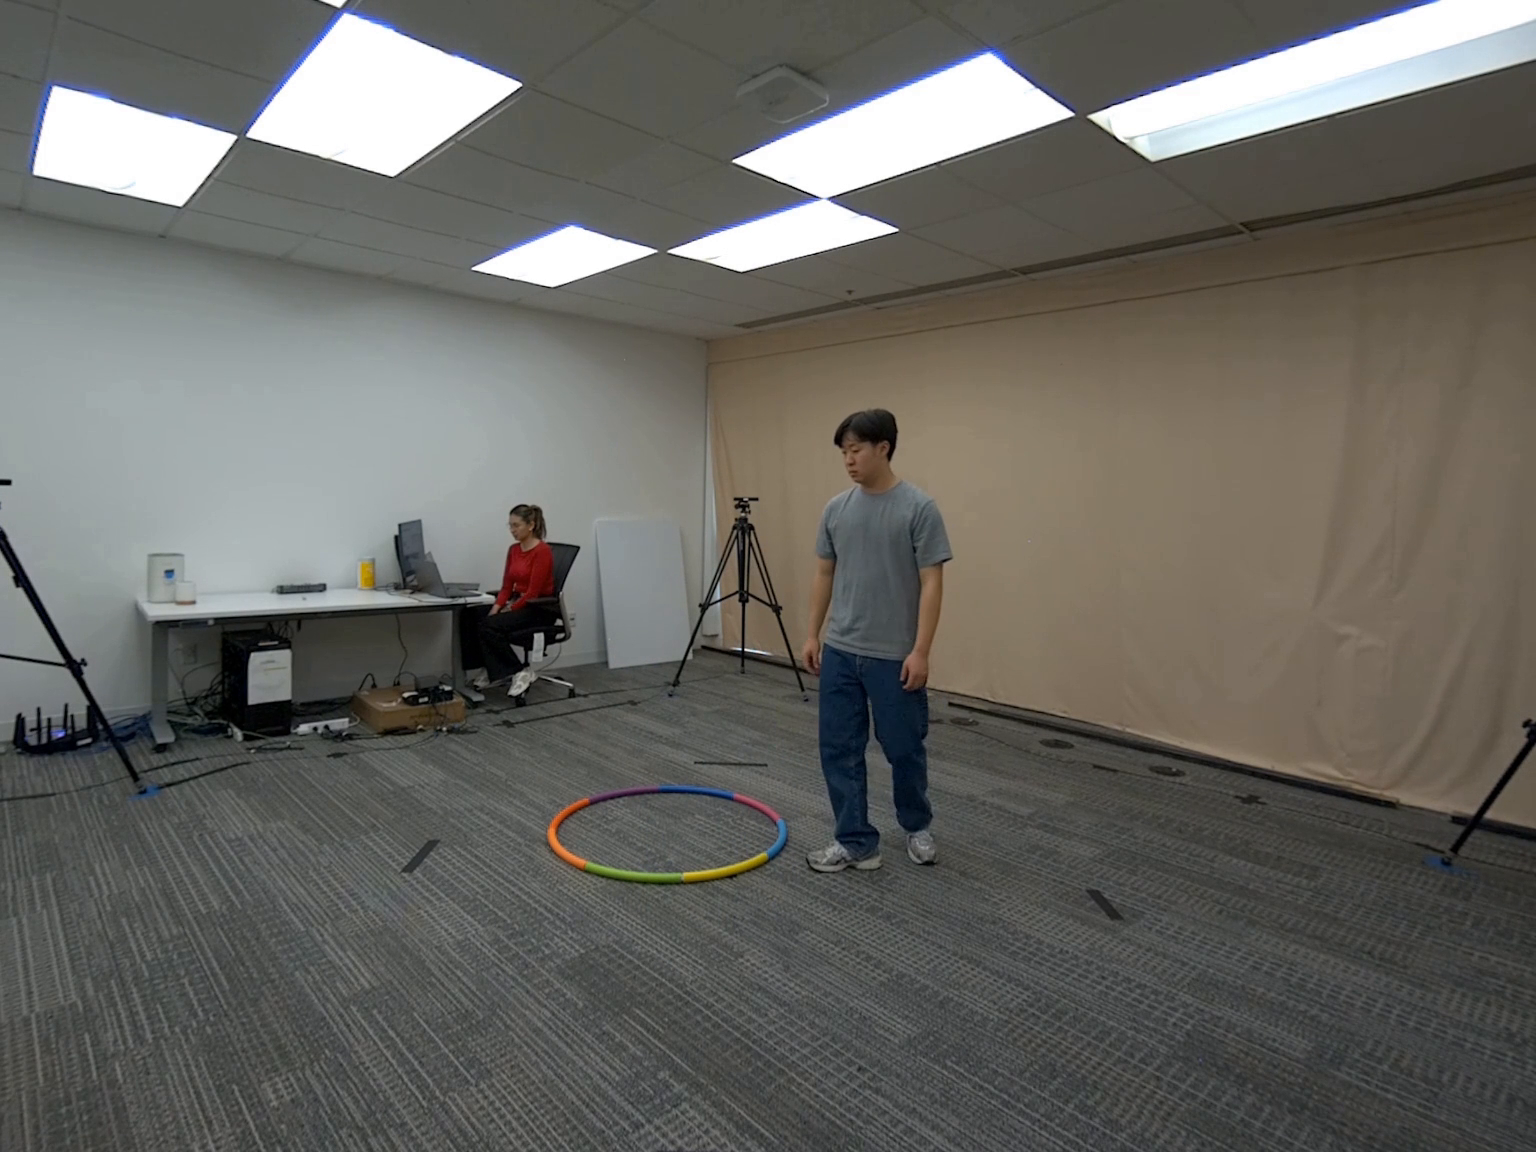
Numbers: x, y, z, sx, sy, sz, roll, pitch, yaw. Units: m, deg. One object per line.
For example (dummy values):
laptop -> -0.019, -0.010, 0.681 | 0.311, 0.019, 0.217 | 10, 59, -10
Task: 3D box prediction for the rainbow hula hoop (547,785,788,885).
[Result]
rainbow hula hoop -> -0.423, 1.035, 3.508 | 0.978, 0.035, 0.982 | 2, 5, -1
